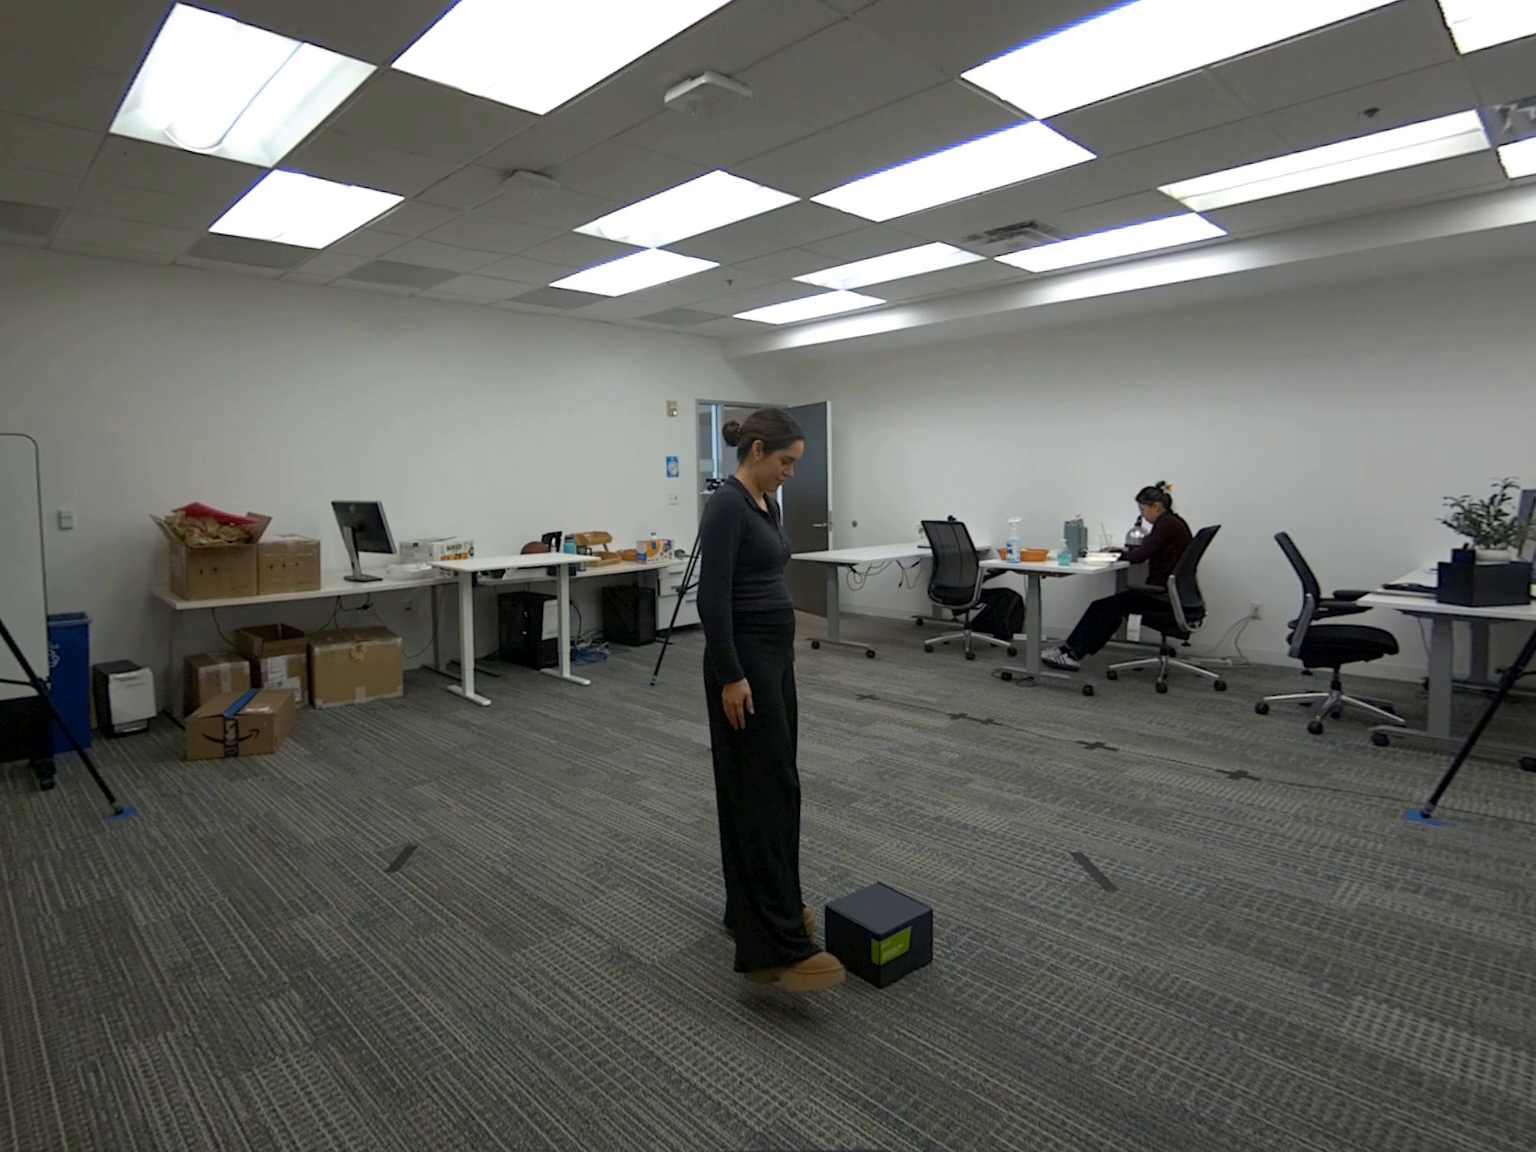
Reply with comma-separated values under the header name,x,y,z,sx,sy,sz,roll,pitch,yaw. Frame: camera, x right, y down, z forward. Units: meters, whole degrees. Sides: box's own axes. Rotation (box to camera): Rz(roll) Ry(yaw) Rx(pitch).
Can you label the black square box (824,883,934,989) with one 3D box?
name,x,y,z,sx,sy,sz,roll,pitch,yaw
black square box,0.322,1.027,2.475,0.222,0.155,0.224,-5,8,-39
